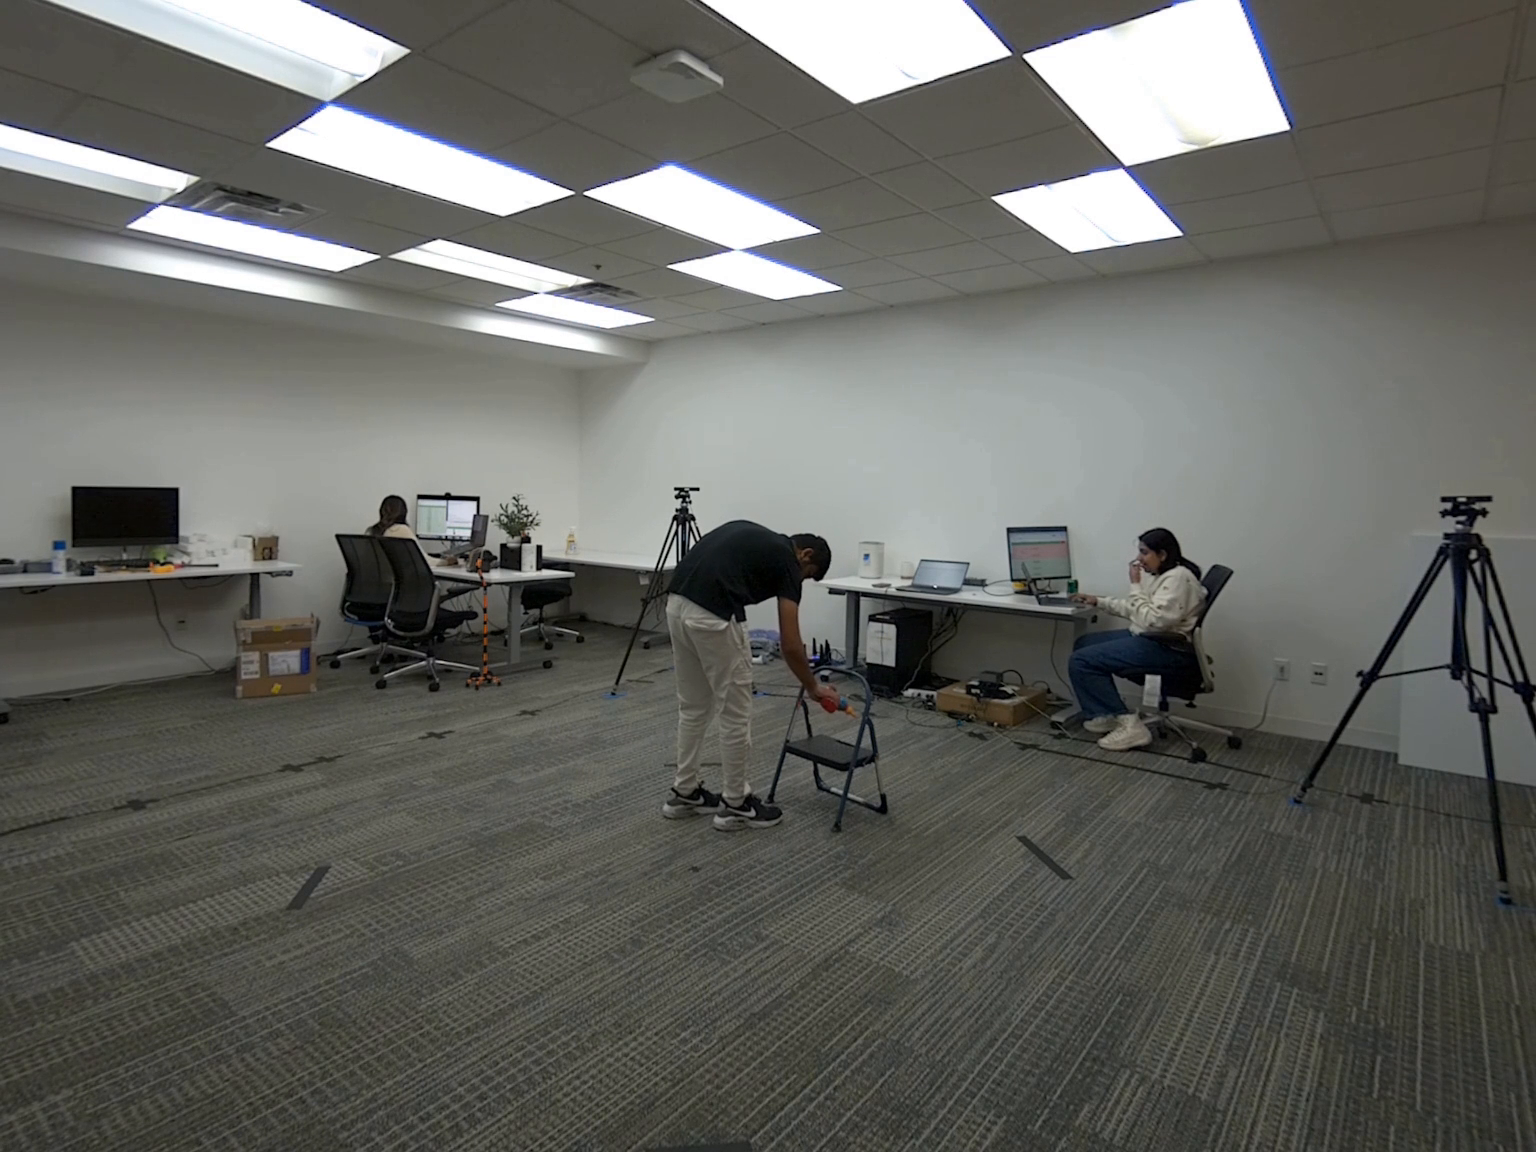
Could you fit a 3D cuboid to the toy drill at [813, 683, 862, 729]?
[{"bbox_3d":[0.295,0.551,3.580,0.173,0.061,0.144,38,16,13],"label":"toy drill"}]
